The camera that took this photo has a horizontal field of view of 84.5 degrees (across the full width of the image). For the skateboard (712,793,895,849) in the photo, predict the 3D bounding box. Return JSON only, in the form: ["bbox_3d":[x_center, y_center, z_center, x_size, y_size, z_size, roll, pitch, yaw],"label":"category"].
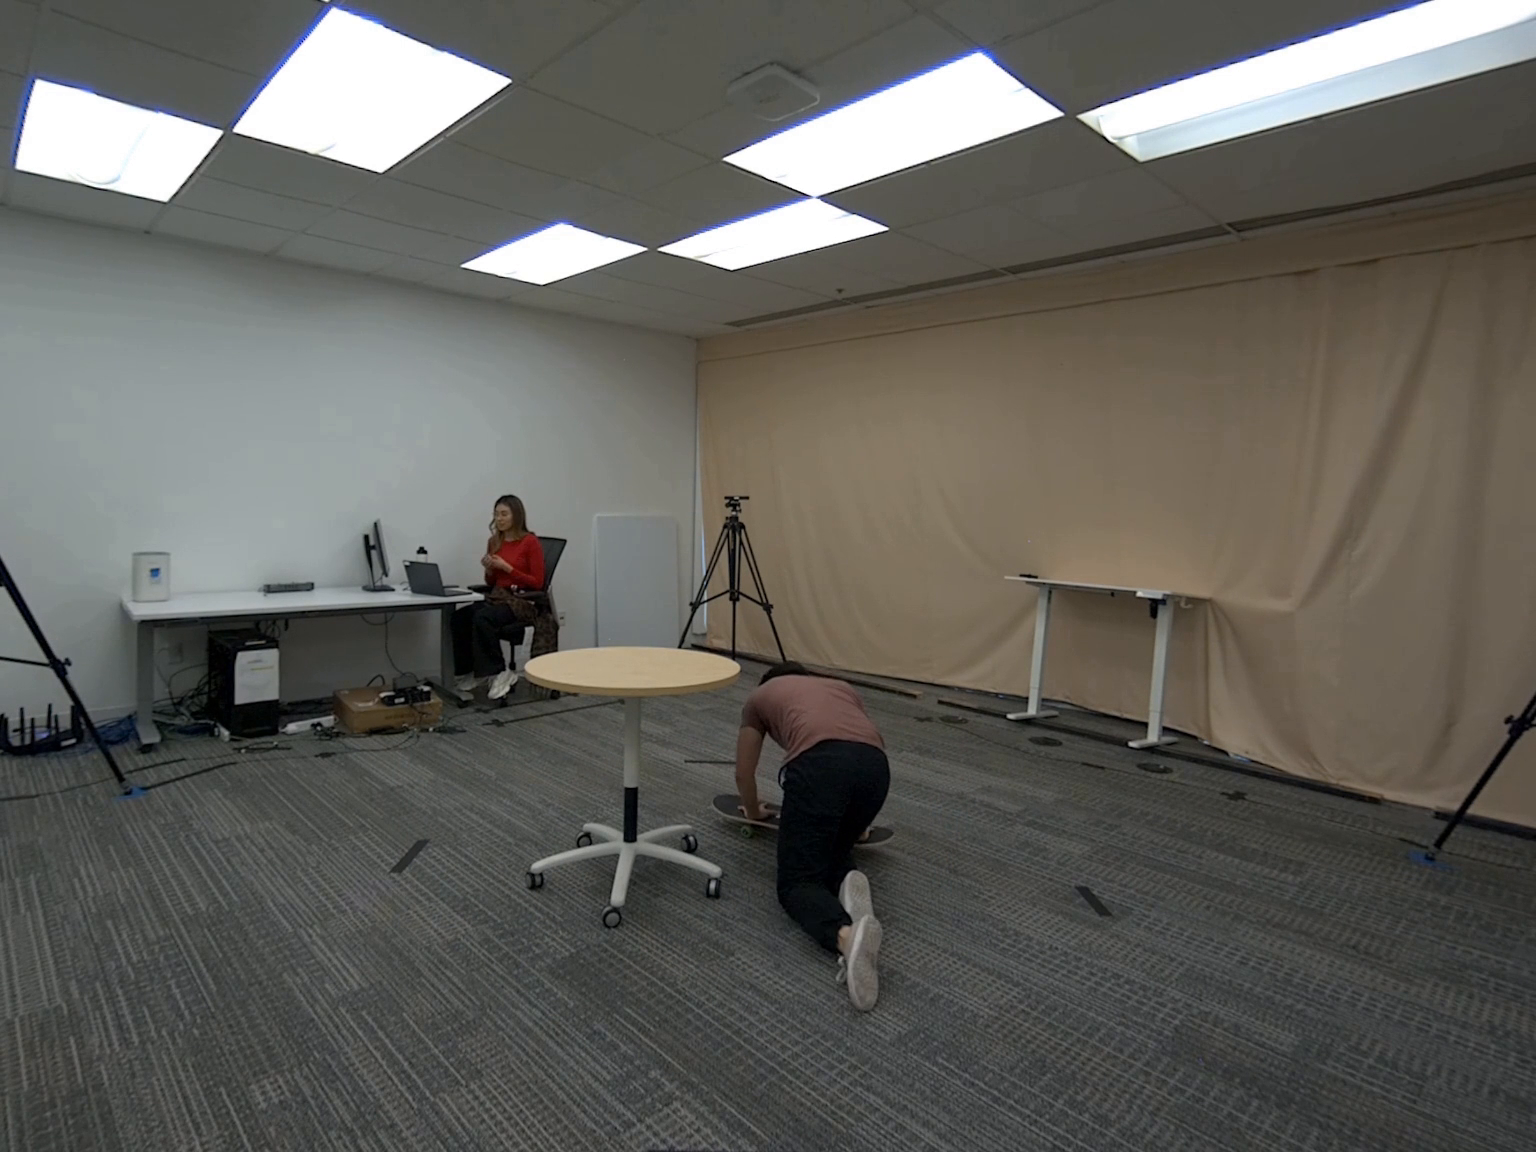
[{"bbox_3d":[0.106,1.028,3.443,0.802,0.110,0.190,5,8,27],"label":"skateboard"}]
